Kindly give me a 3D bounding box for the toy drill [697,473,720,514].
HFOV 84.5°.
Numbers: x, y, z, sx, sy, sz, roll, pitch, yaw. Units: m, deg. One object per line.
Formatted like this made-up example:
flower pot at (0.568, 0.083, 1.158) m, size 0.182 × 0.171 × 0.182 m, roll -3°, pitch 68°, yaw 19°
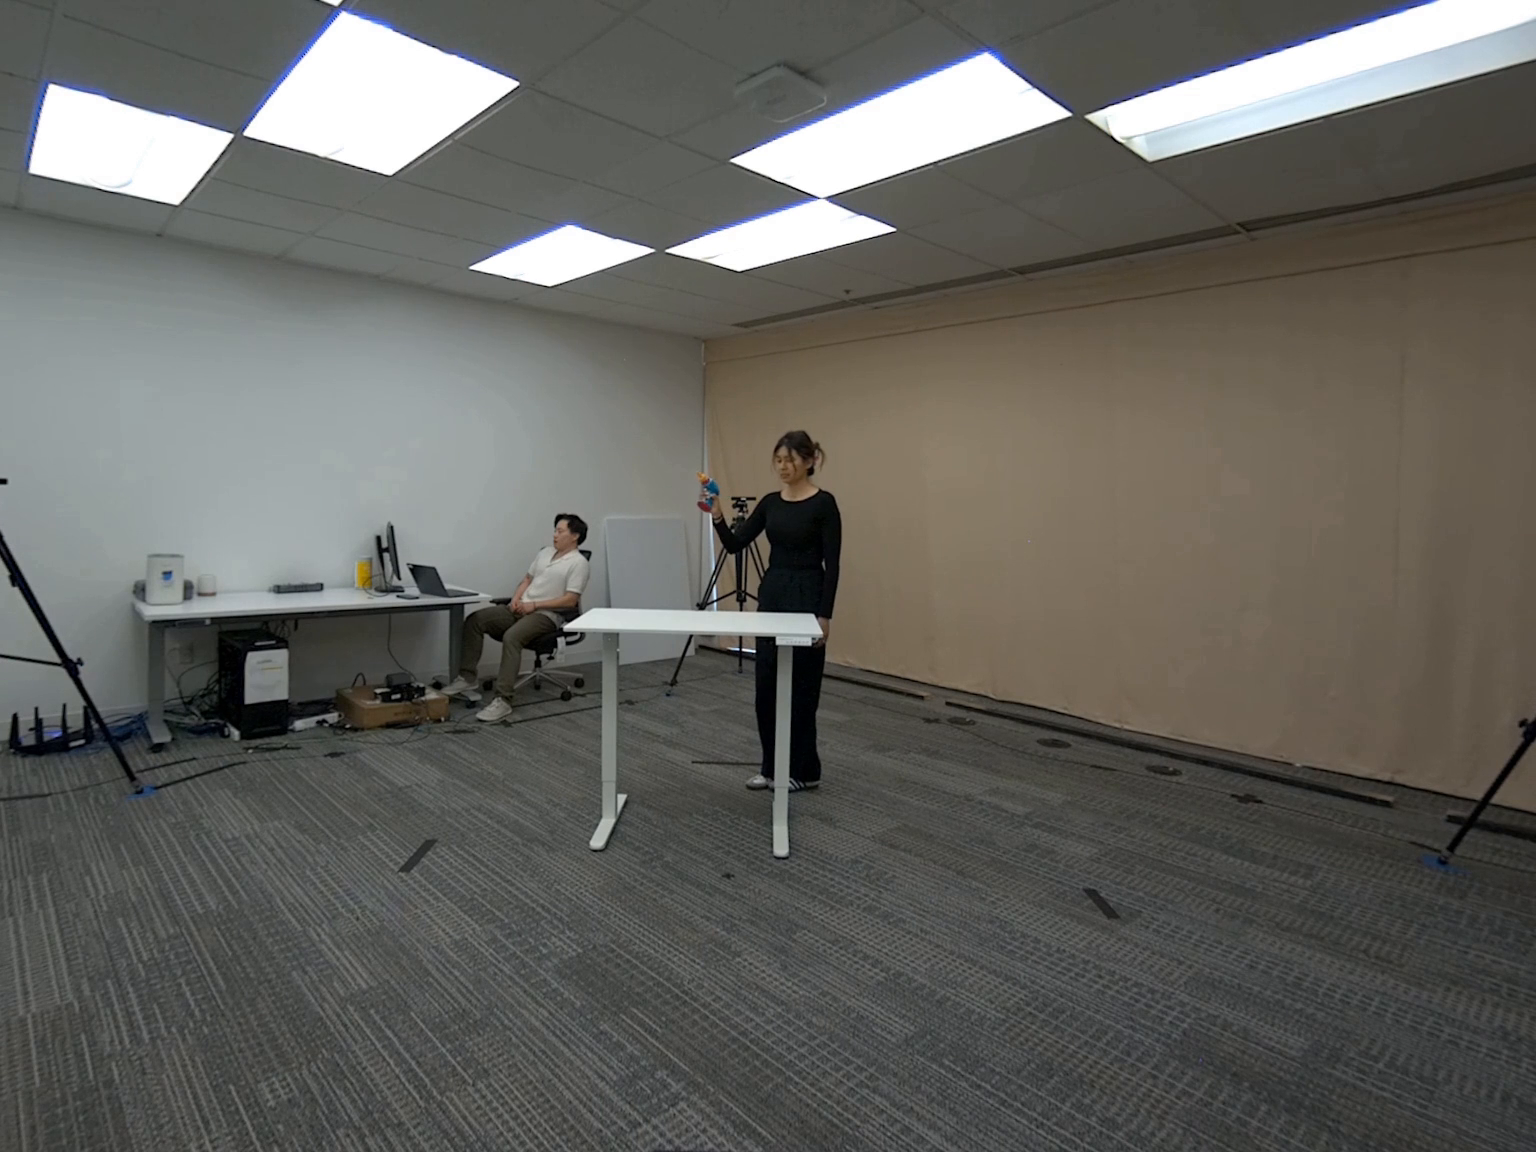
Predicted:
toy drill at (-0.296, -0.394, 3.862) m, size 0.062 × 0.147 × 0.164 m, roll -5°, pitch -41°, yaw 34°
